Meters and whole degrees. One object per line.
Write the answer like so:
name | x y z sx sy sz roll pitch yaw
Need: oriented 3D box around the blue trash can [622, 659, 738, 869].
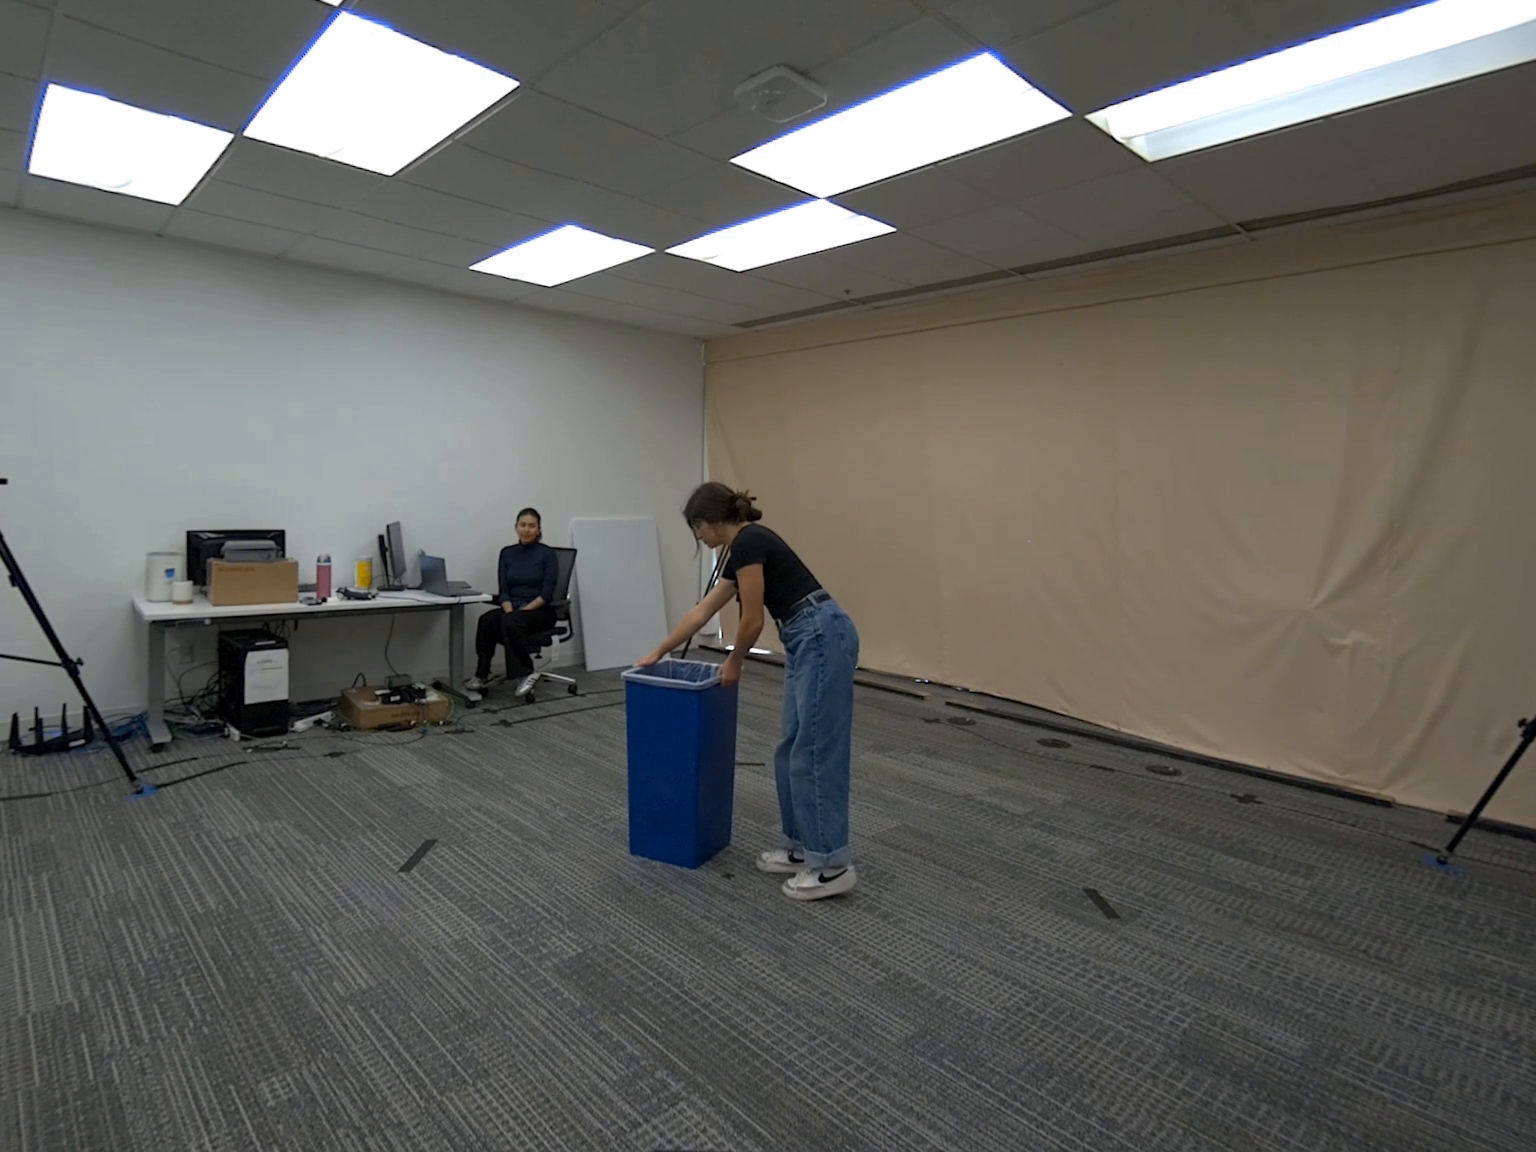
blue trash can | -0.345 0.720 3.318 0.386 0.712 0.367 3 4 27
